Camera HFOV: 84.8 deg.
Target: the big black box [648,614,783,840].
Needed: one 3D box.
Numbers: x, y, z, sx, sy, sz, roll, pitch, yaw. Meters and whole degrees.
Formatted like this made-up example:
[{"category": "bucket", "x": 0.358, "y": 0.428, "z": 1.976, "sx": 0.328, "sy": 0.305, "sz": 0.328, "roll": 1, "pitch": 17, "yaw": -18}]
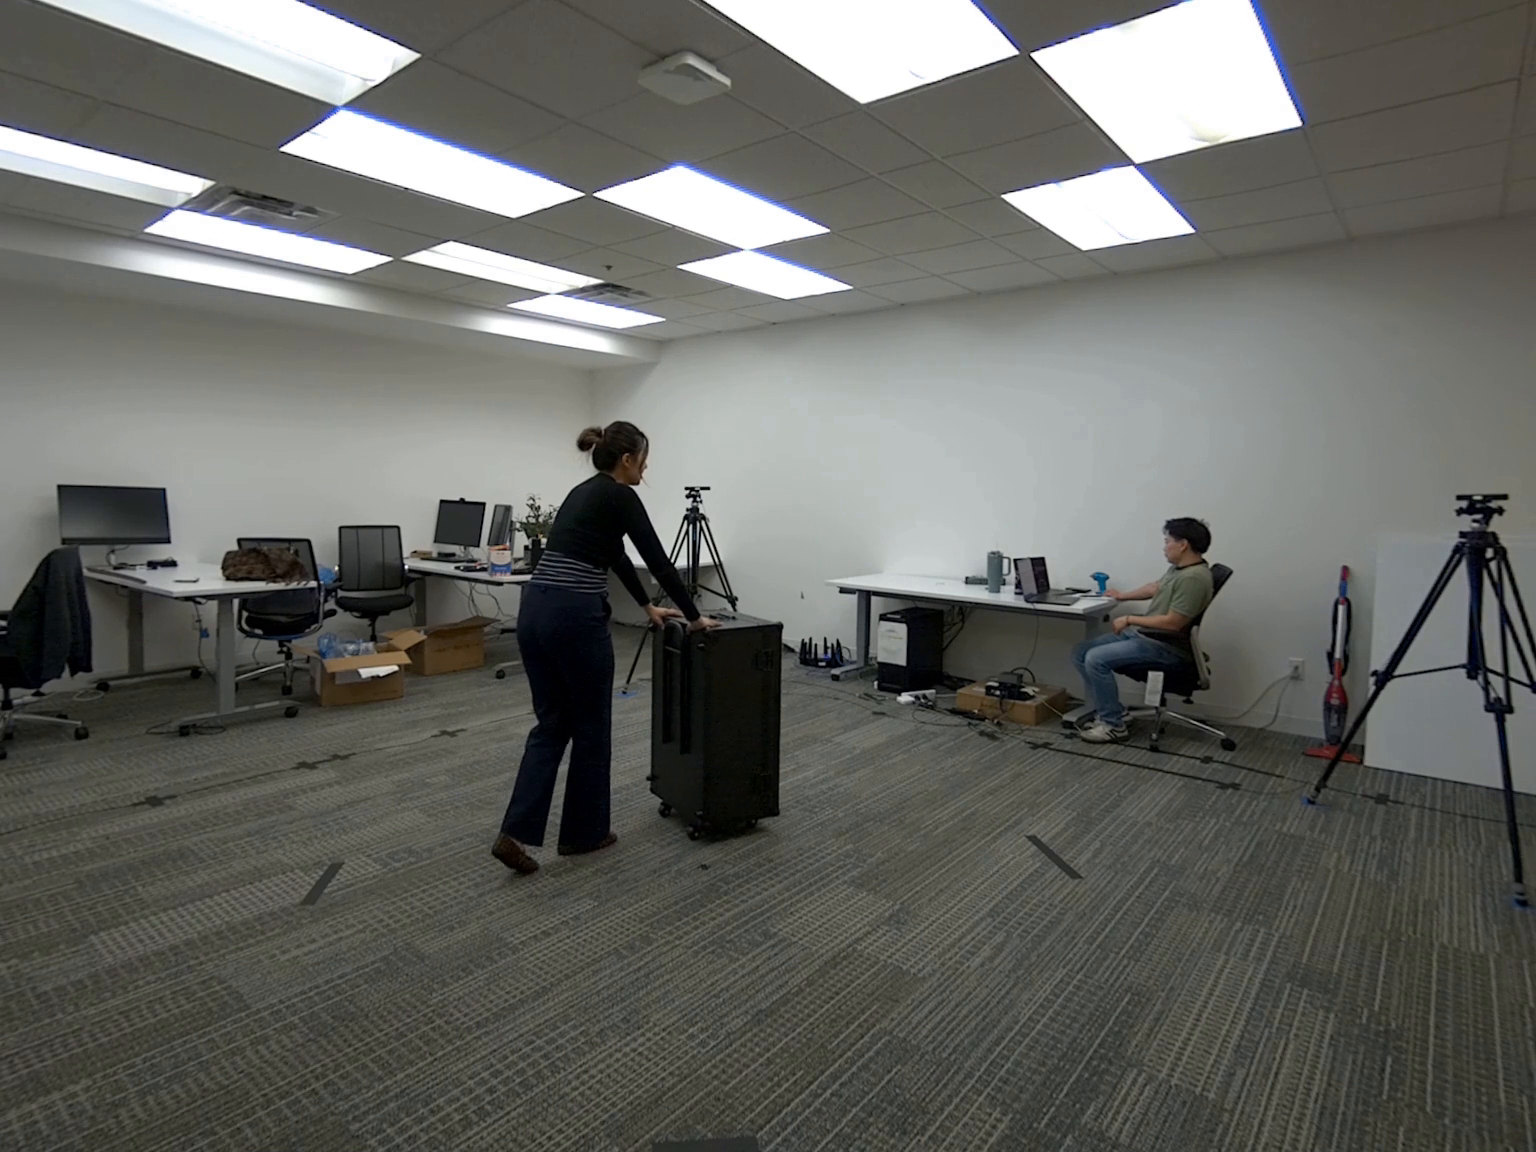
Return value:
[{"category": "big black box", "x": -0.240, "y": 0.595, "z": 3.536, "sx": 0.385, "sy": 0.859, "sz": 0.537, "roll": -1, "pitch": 4, "yaw": -32}]
